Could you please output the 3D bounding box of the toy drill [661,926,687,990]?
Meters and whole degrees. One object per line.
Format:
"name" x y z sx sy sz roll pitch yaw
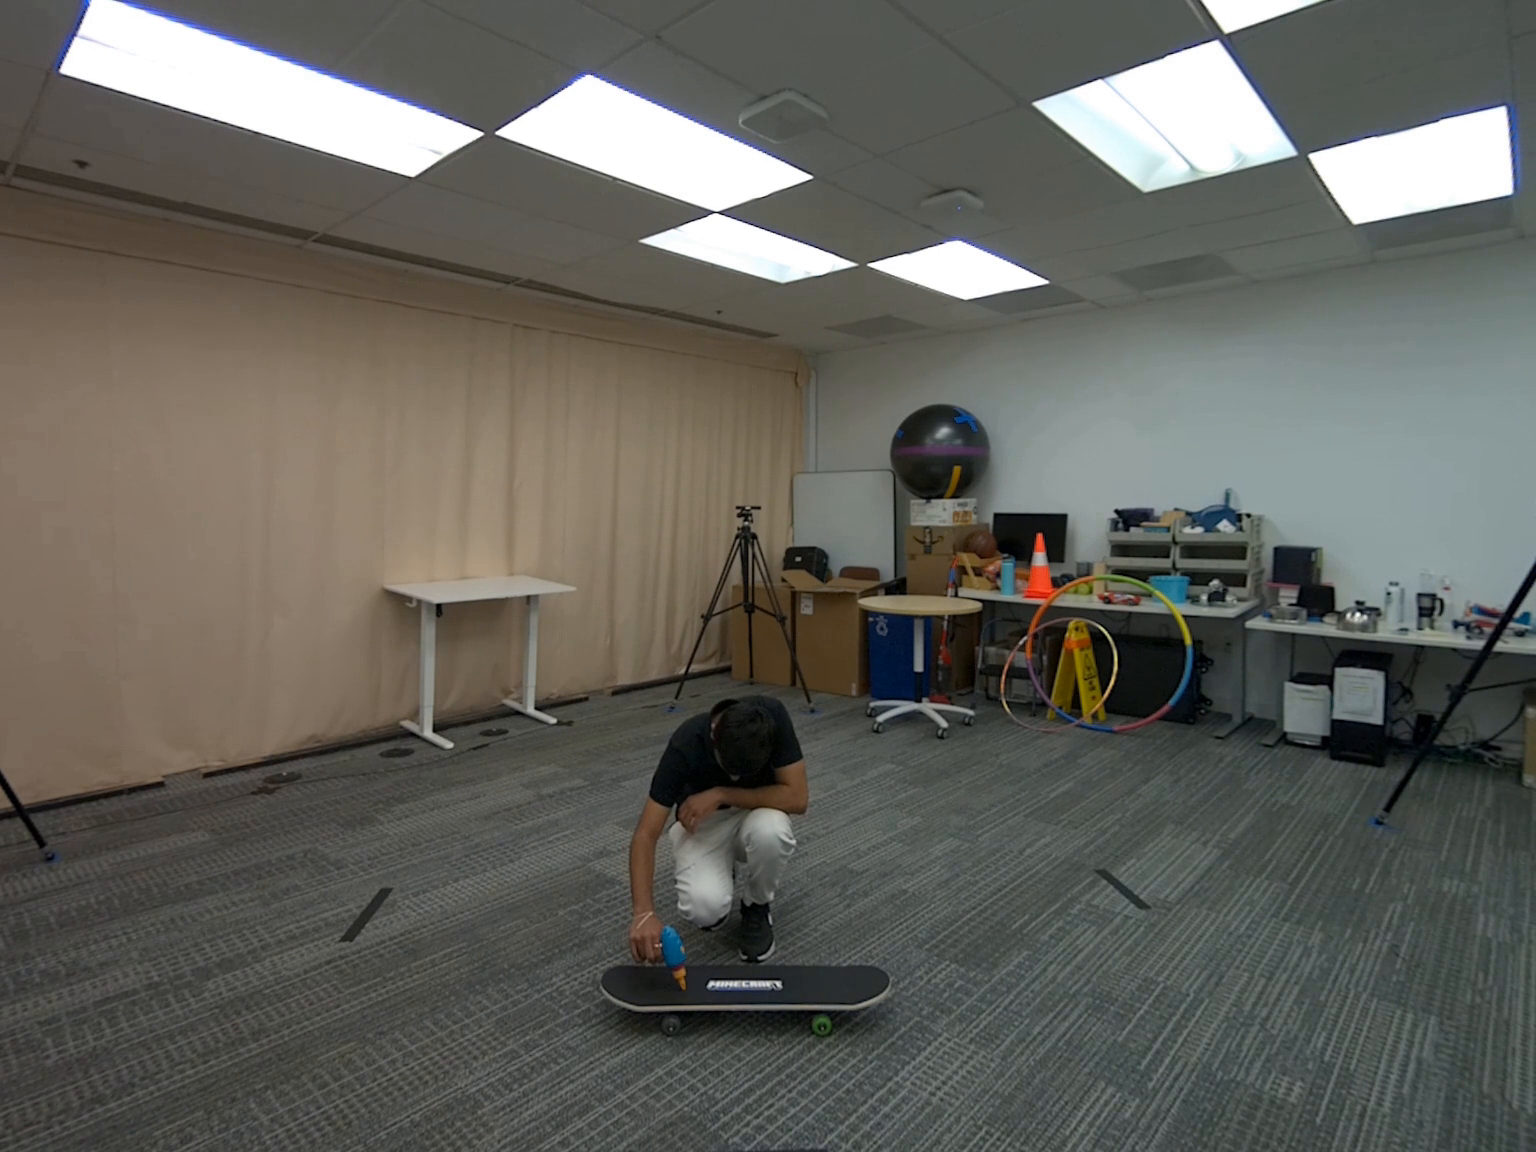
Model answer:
"toy drill" -0.294 1.048 2.290 0.148 0.171 0.059 -23 -10 22
